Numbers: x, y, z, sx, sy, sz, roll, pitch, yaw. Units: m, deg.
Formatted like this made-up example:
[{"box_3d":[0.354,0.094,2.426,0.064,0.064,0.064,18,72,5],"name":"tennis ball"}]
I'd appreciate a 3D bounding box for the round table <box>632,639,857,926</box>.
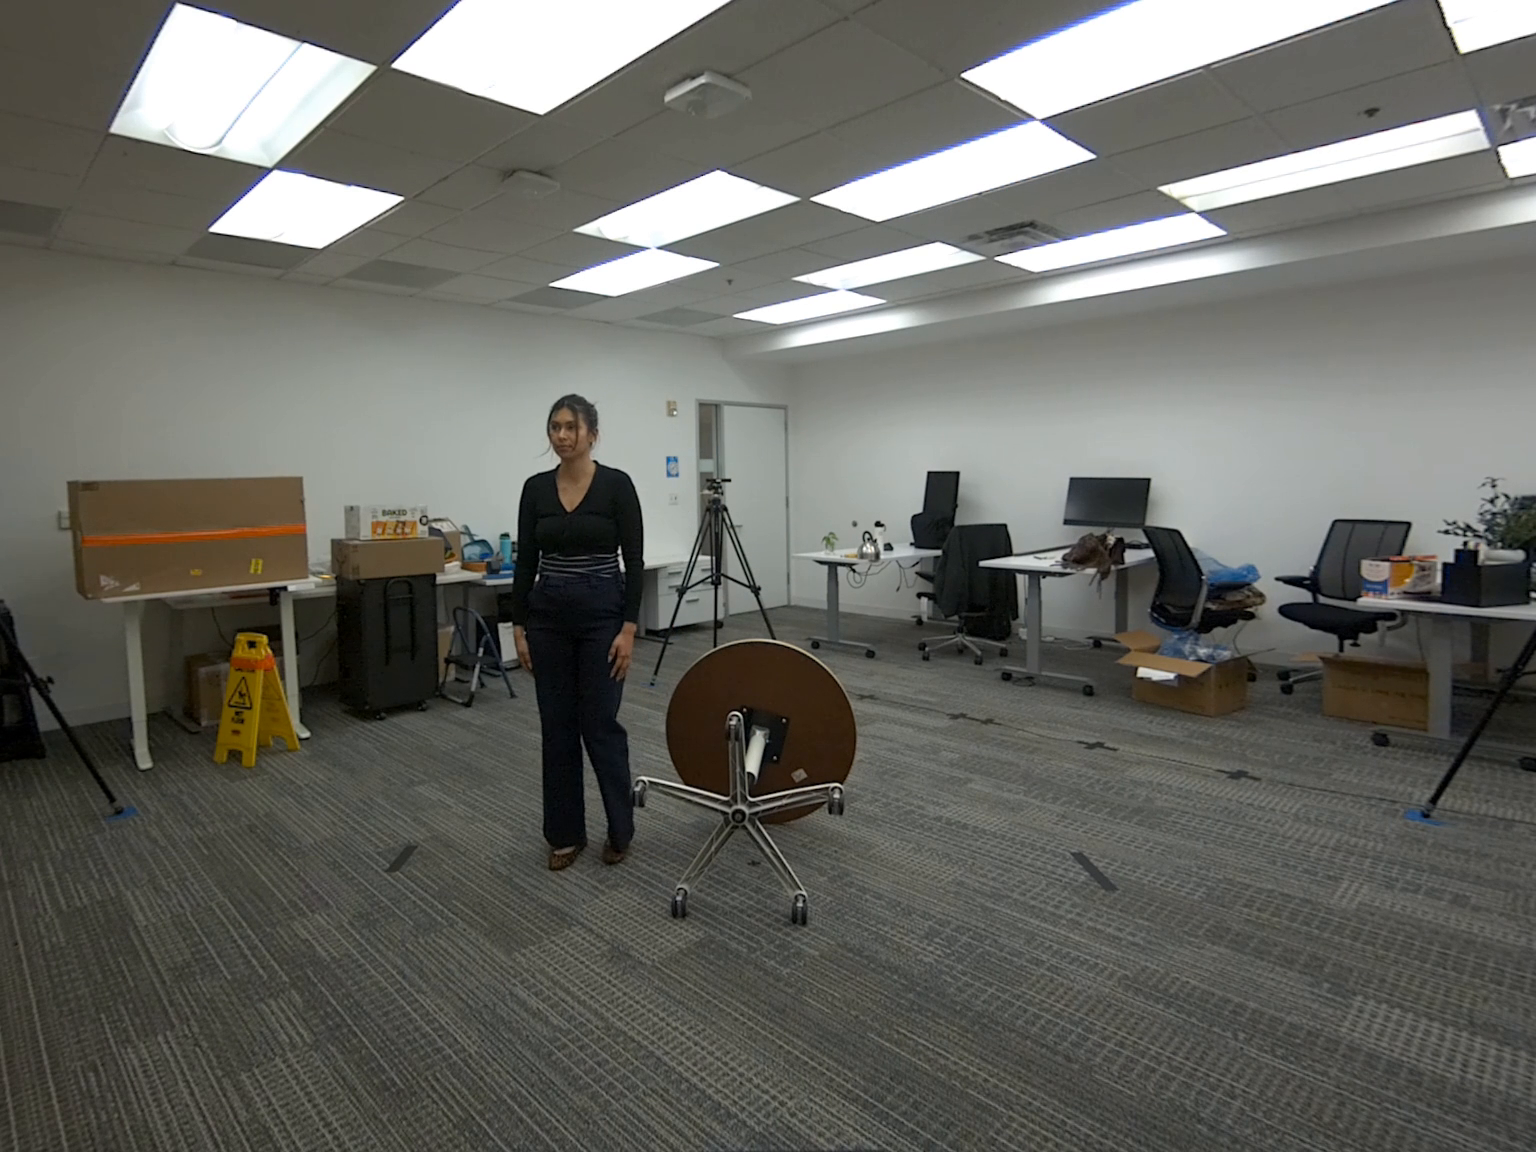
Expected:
[{"box_3d":[-0.062,0.713,3.034,0.769,0.758,0.795,0,9,6],"name":"round table"}]
